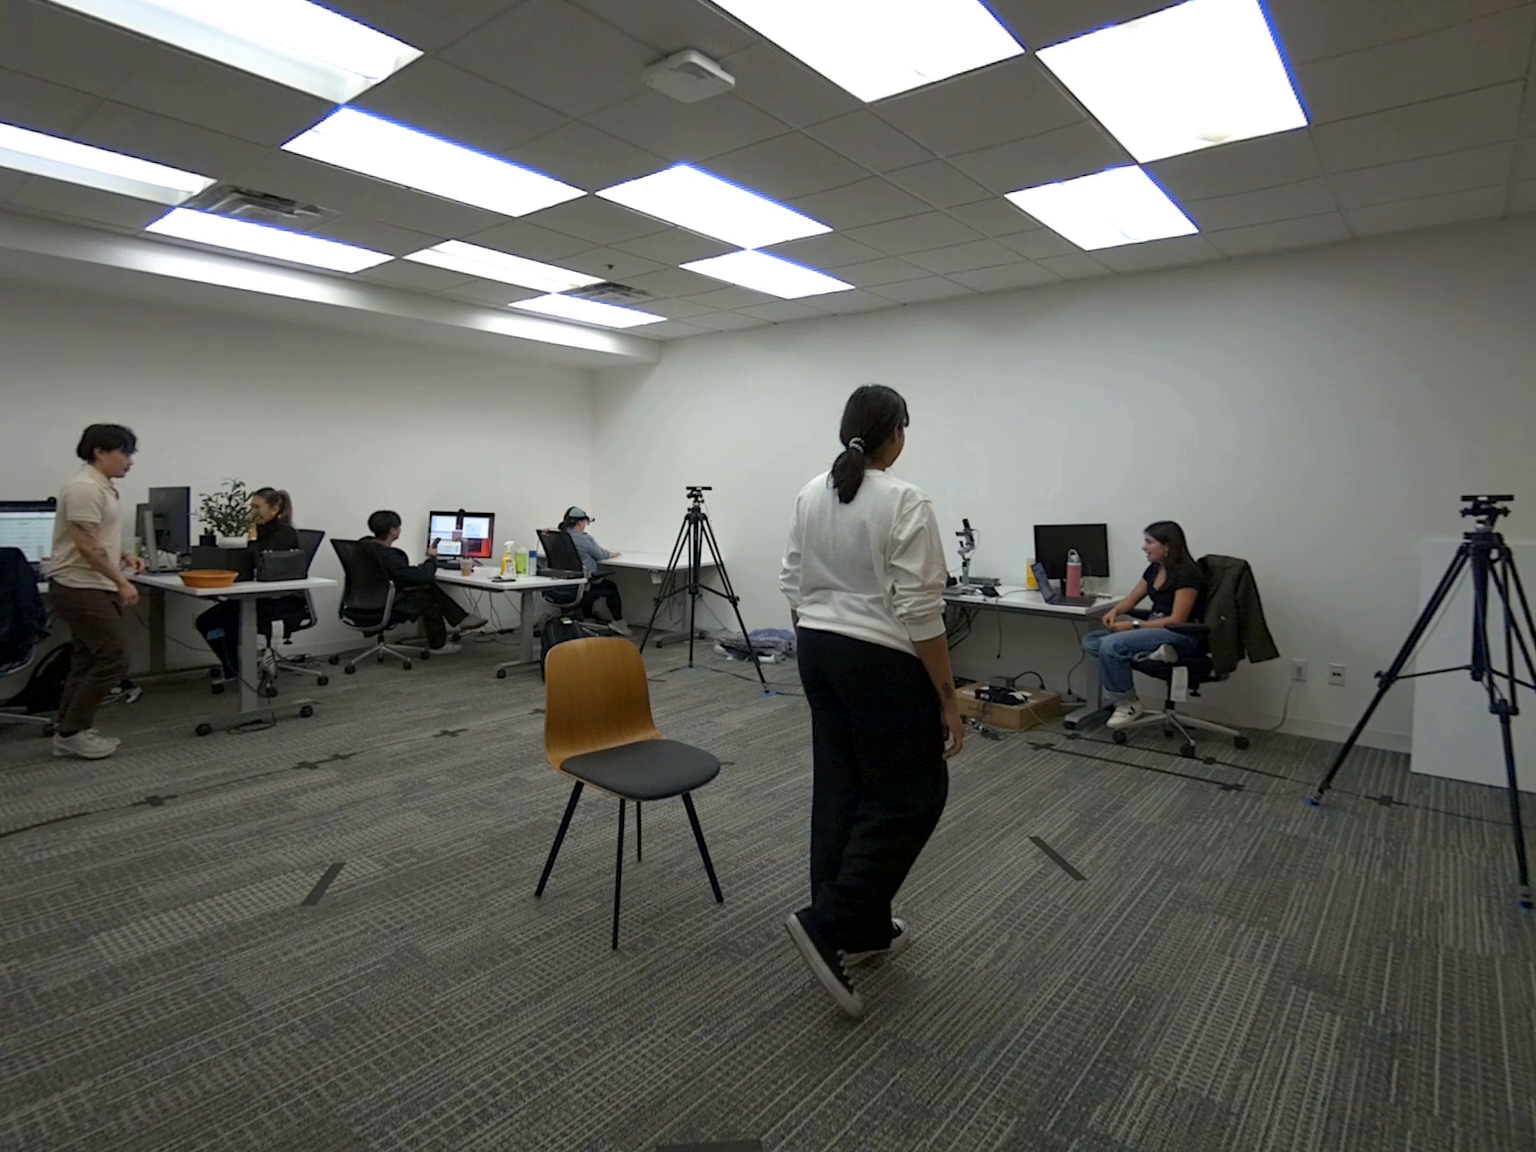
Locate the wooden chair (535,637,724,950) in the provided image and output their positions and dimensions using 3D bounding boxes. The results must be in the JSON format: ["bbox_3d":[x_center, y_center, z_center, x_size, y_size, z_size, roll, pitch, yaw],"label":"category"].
[{"bbox_3d":[-0.455,0.660,2.828,0.463,0.878,0.539,-2,0,-45],"label":"wooden chair"}]
